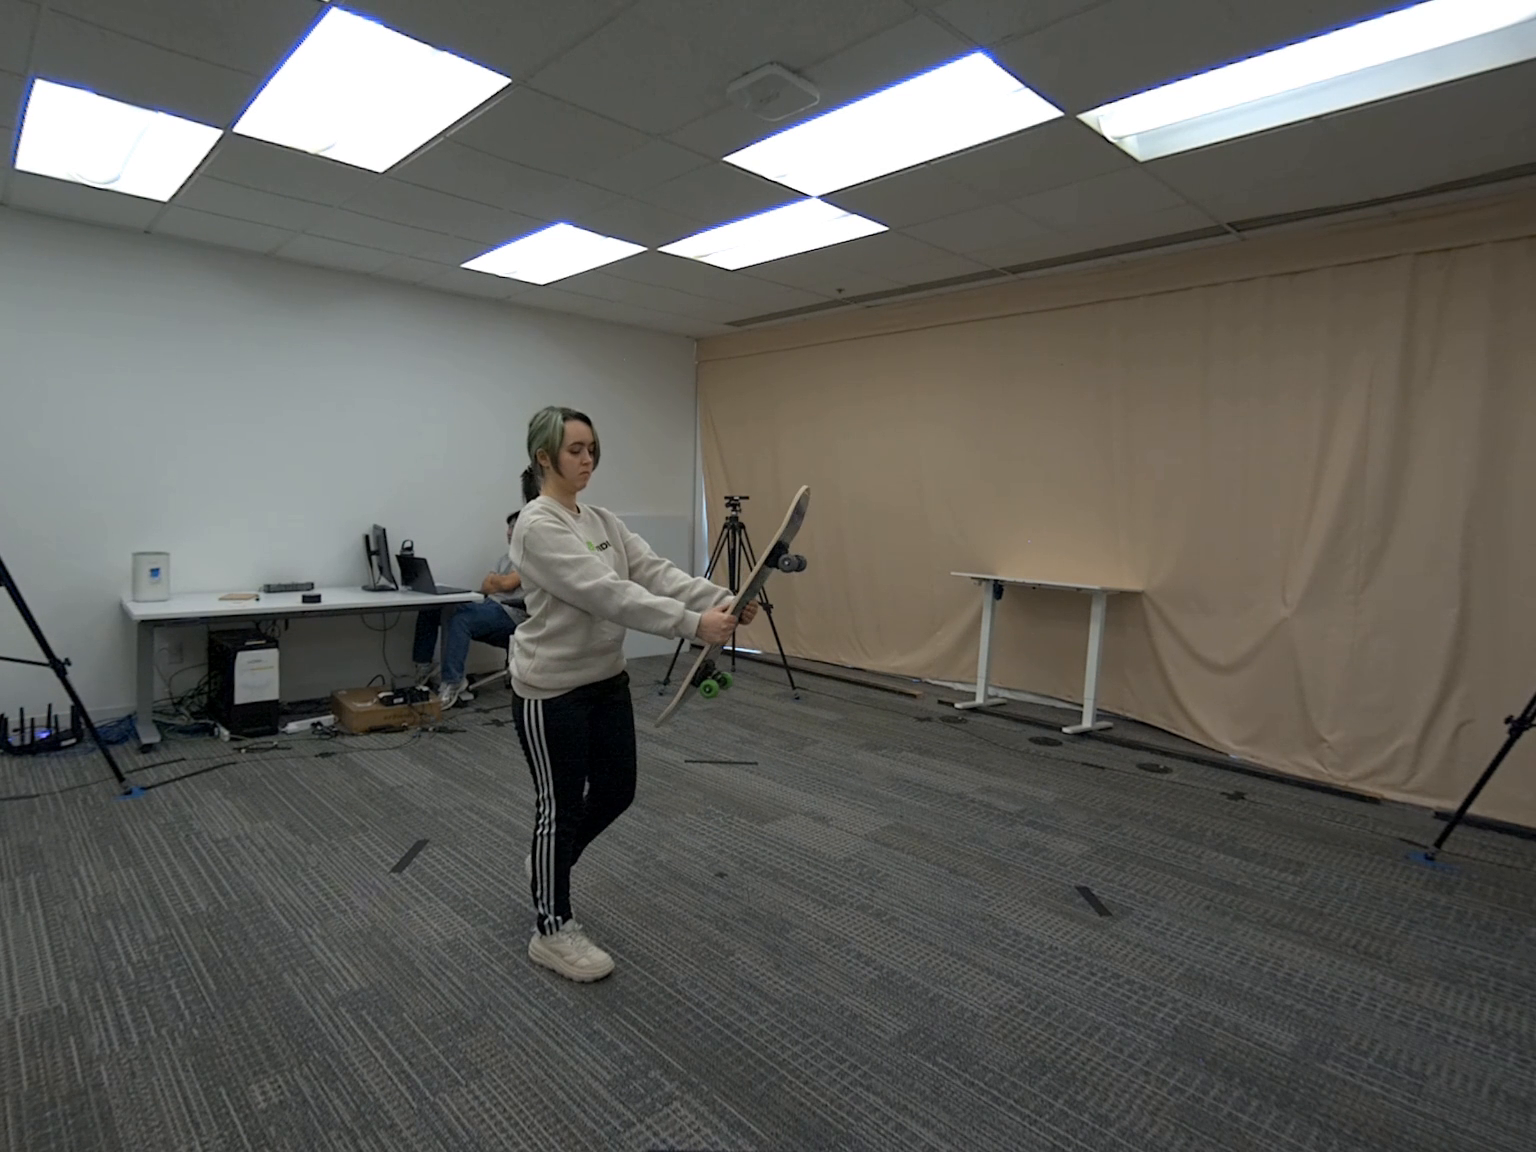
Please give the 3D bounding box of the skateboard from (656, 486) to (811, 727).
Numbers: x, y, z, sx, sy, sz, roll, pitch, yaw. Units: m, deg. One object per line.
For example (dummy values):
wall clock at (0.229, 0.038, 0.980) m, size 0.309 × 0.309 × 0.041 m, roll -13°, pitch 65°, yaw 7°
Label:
skateboard at (-0.070, 0.115, 2.294) m, size 0.112 × 0.784 × 0.191 m, roll 32°, pitch 5°, yaw 13°
